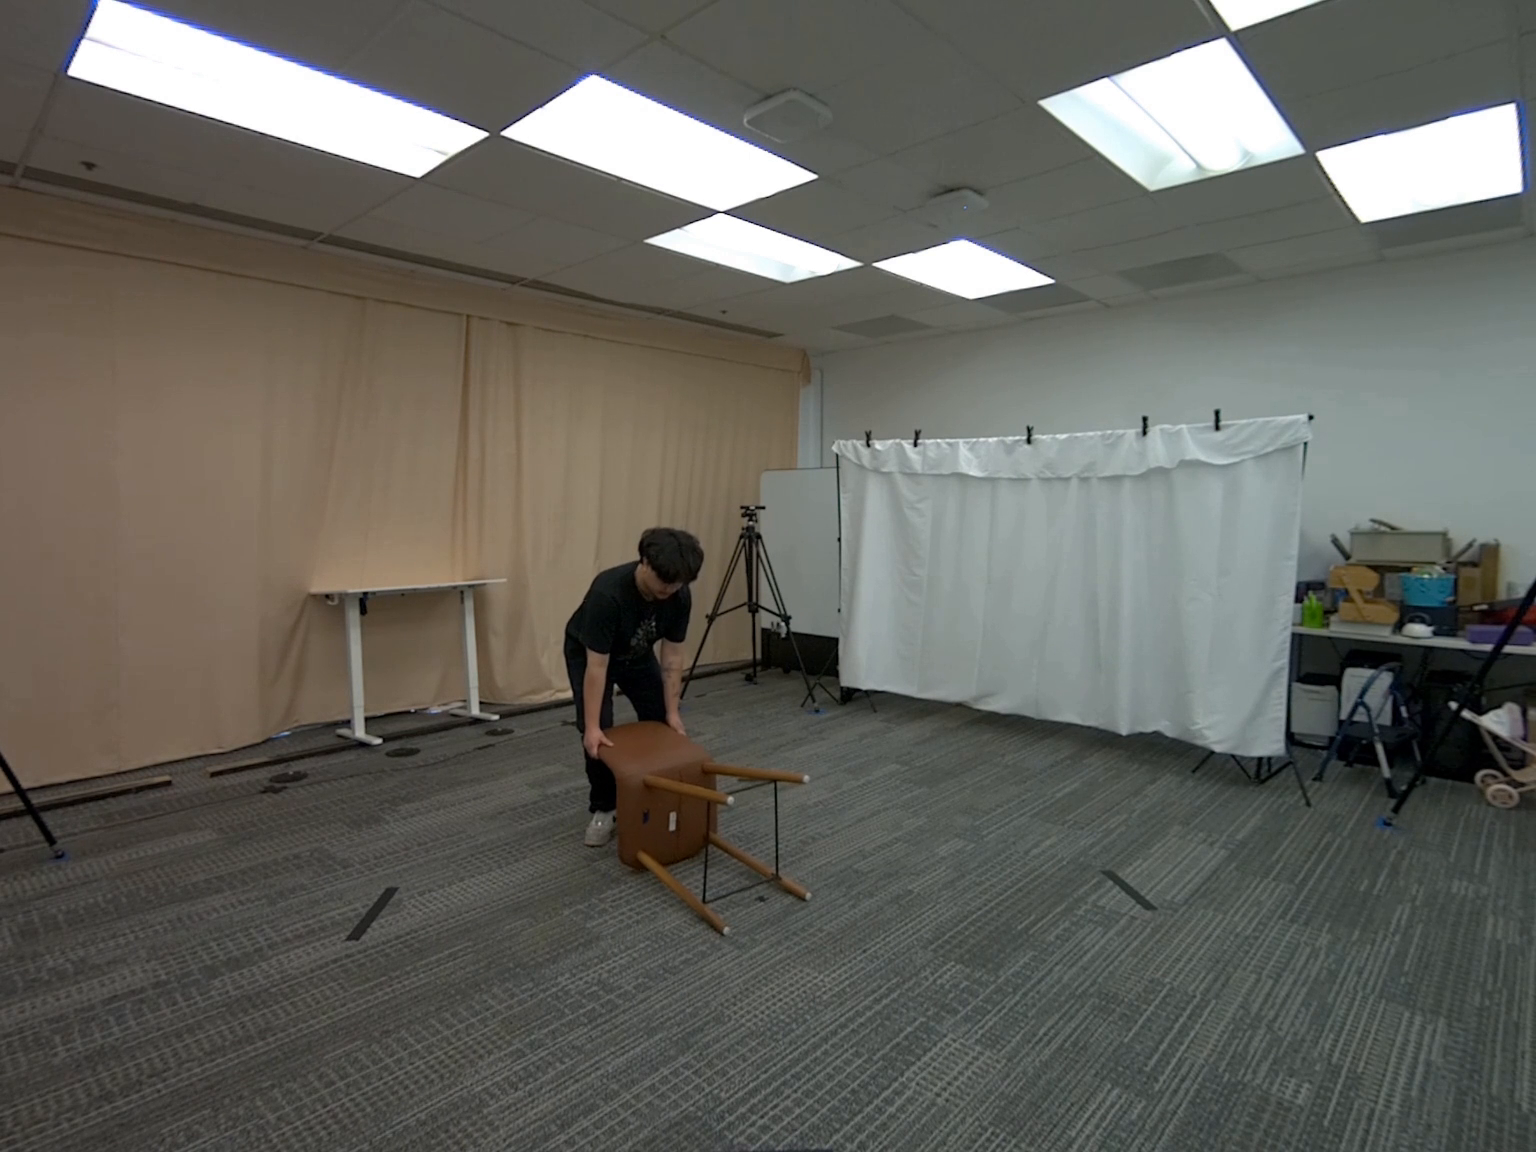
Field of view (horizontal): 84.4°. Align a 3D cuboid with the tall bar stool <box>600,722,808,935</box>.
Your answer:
[{"bbox_3d":[-0.284,0.889,3.170,0.442,0.466,0.920,-3,8,-42],"label":"tall bar stool"}]
